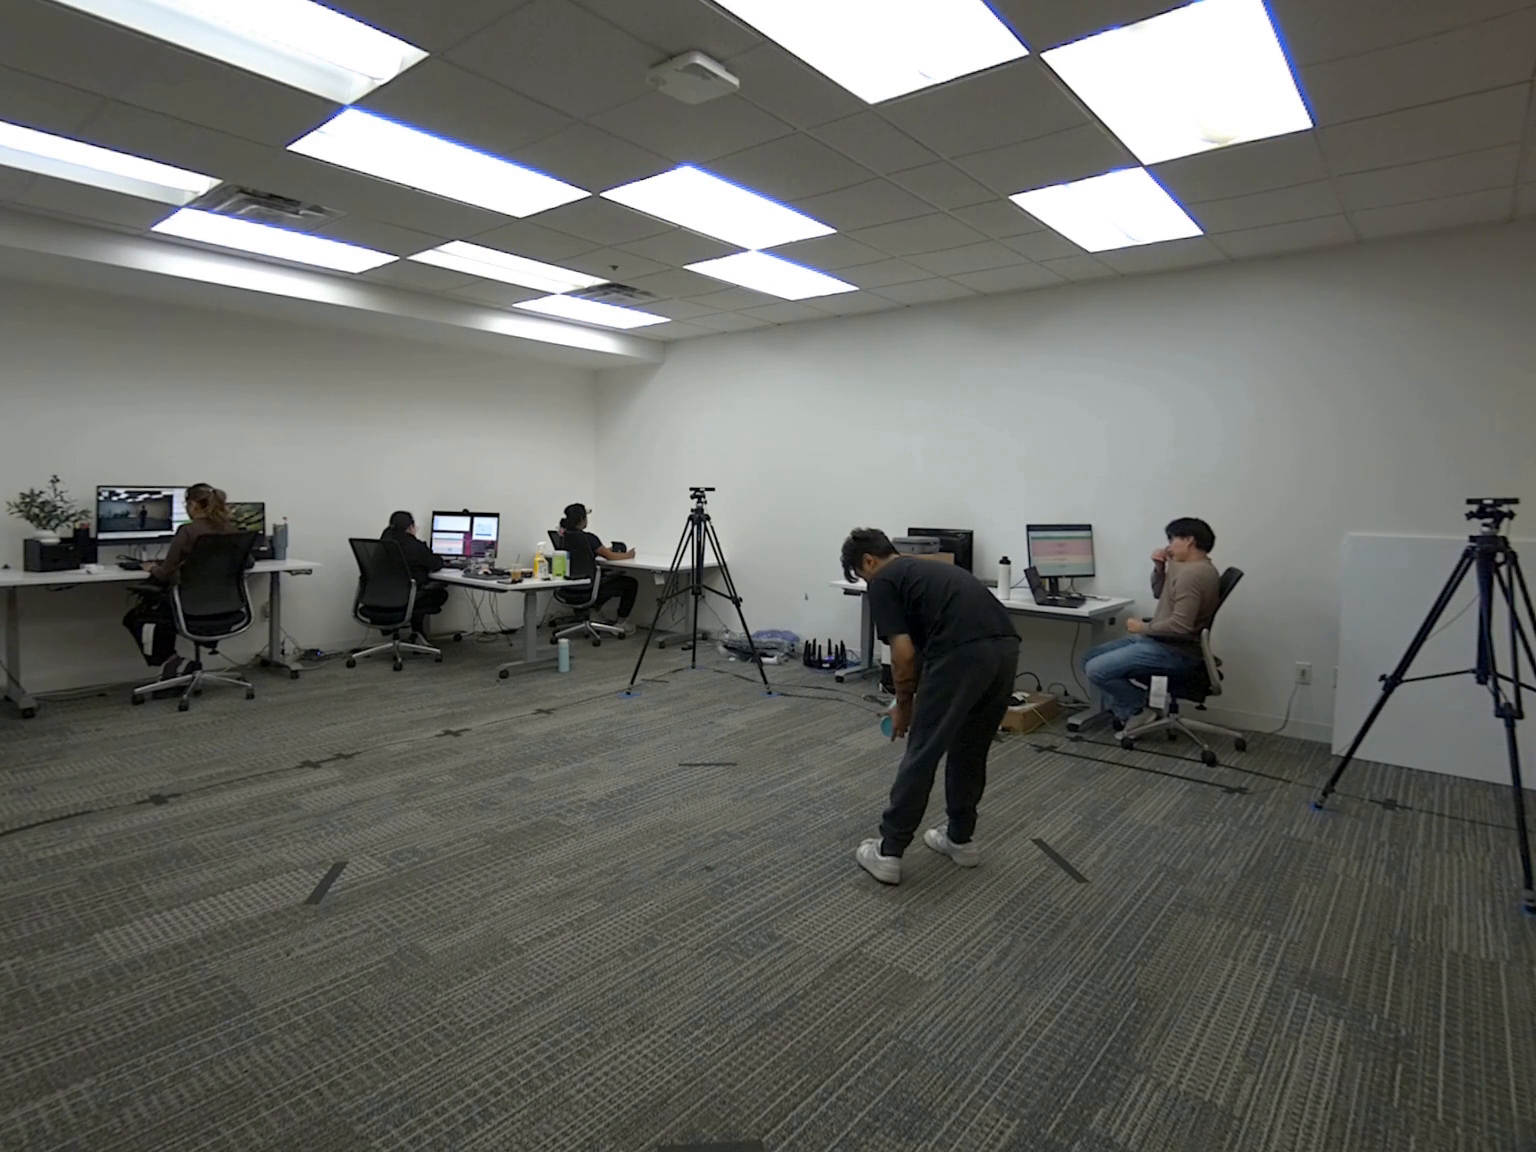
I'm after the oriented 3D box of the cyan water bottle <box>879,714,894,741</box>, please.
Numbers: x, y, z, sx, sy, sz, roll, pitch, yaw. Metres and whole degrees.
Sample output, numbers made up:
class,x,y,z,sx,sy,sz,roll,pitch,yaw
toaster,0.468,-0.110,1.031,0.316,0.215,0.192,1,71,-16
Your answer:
class,x,y,z,sx,sy,sz,roll,pitch,yaw
cyan water bottle,0.508,0.534,3.354,0.094,0.091,0.280,2,11,20
